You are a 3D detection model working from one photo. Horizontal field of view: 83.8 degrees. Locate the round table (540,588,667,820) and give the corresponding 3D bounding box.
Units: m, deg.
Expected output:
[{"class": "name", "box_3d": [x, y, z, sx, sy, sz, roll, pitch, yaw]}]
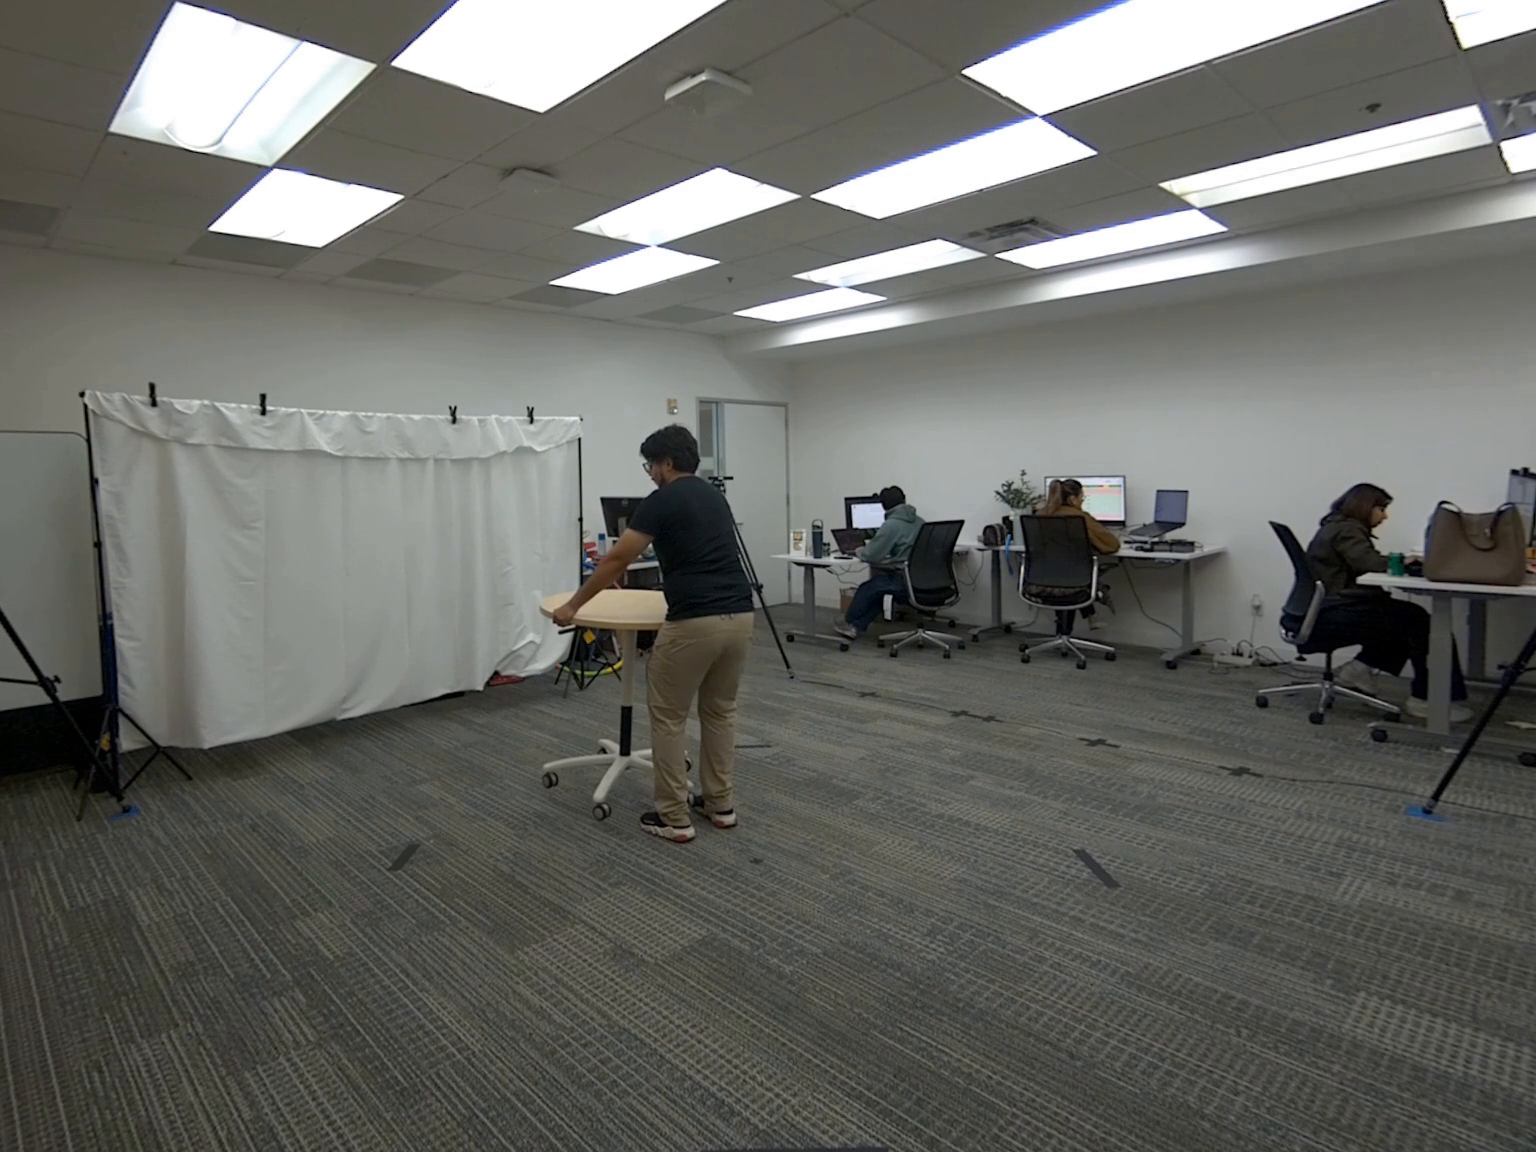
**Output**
[{"class": "round table", "box_3d": [-0.614, 0.519, 3.690, 0.784, 0.782, 0.791, 2, 7, -2]}]
